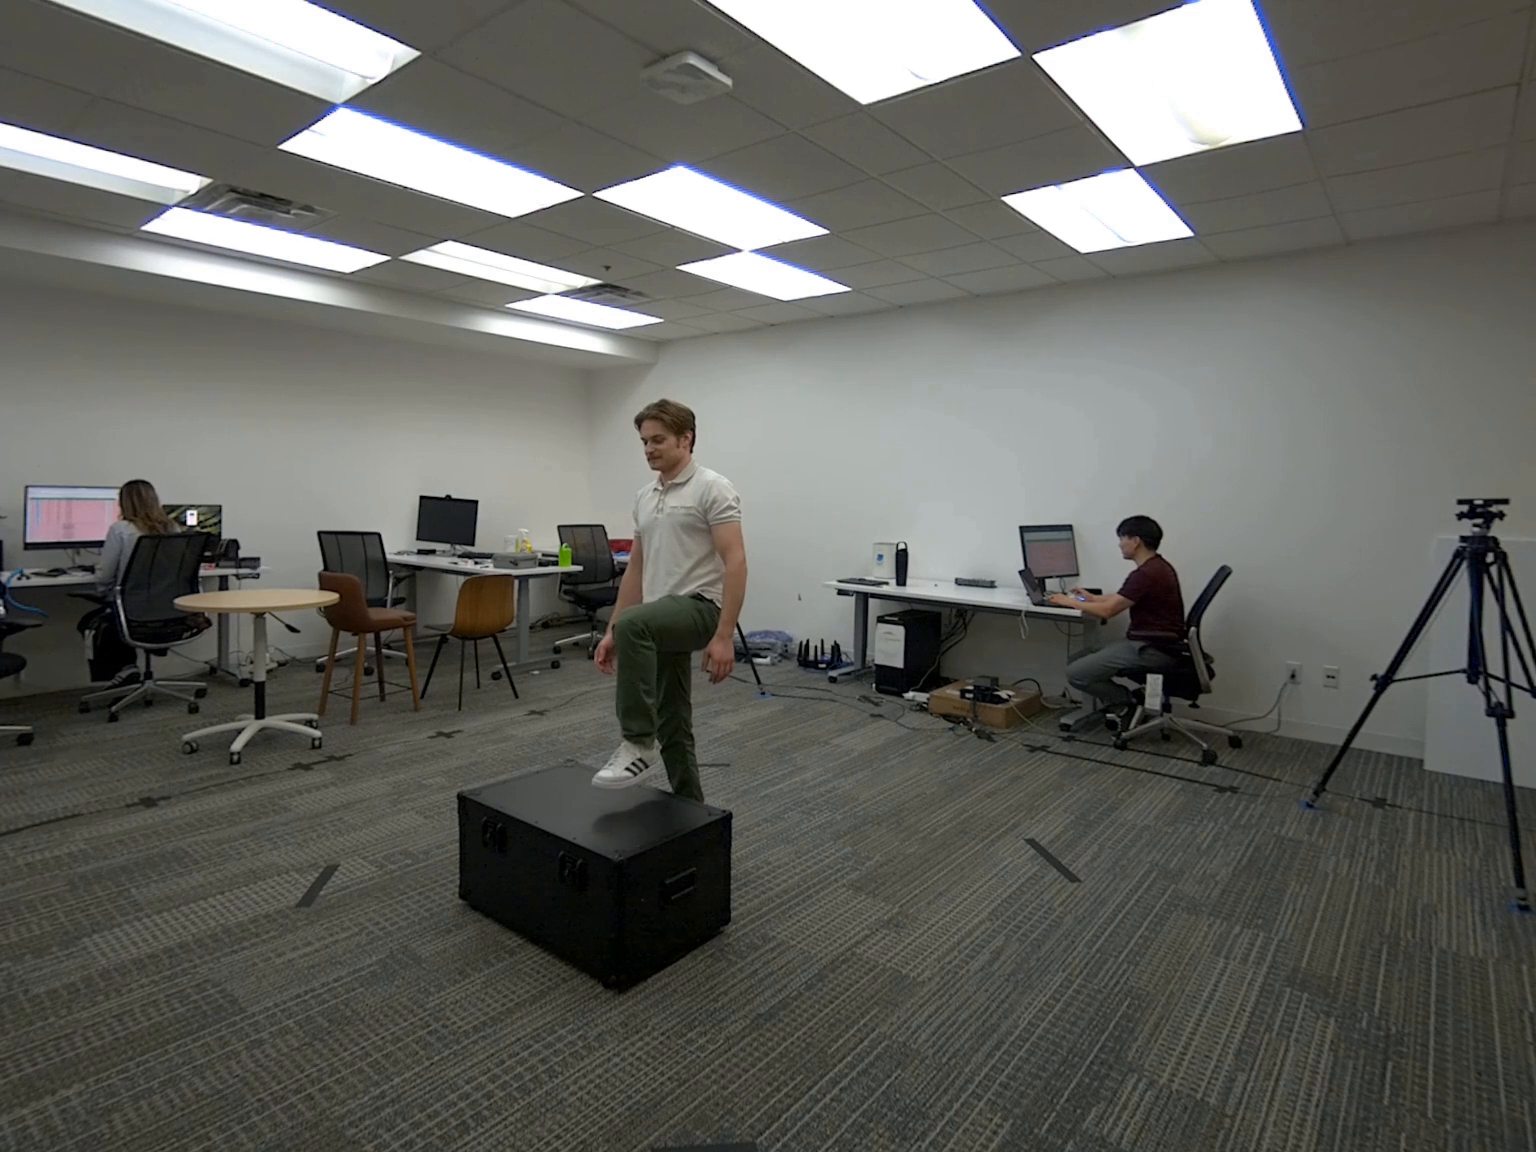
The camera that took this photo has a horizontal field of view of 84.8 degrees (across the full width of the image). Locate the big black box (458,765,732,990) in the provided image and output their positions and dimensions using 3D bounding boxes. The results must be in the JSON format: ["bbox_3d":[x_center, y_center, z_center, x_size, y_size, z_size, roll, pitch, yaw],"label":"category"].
[{"bbox_3d":[-0.602,0.904,2.763,0.897,0.383,0.508,4,7,39],"label":"big black box"}]
